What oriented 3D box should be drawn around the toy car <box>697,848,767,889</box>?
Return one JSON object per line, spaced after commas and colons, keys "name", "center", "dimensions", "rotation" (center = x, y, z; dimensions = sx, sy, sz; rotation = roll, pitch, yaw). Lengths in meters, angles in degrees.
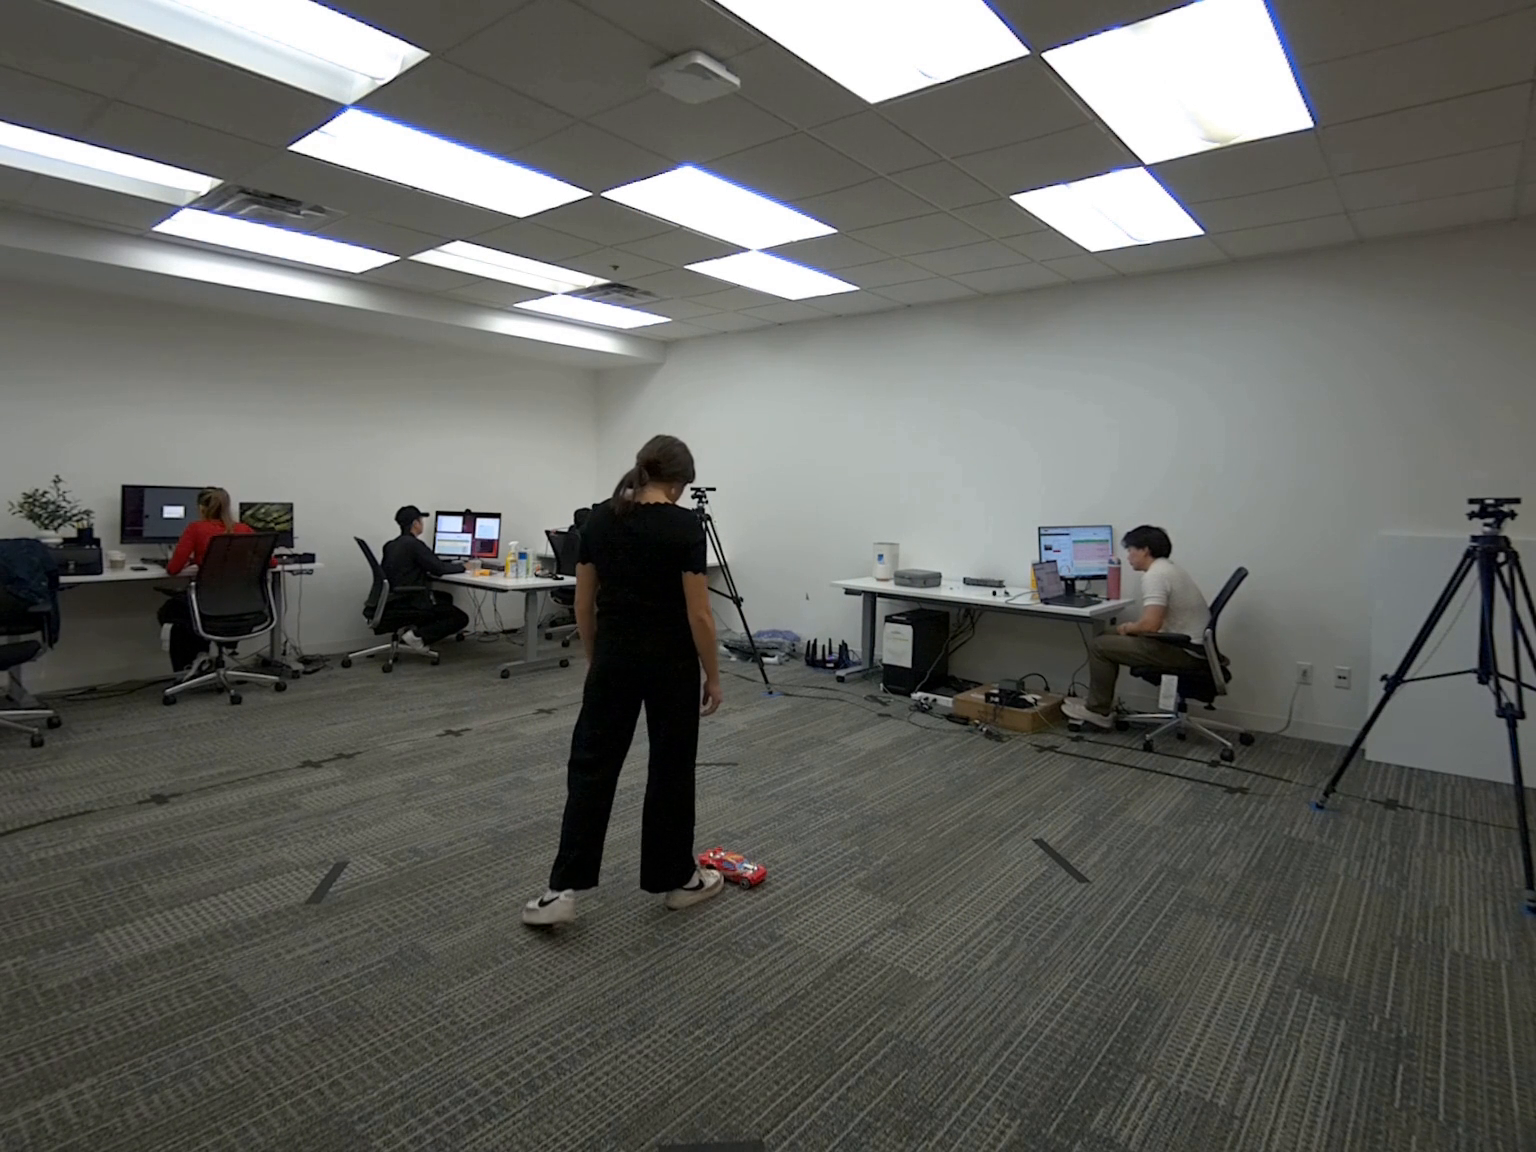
{"name": "toy car", "center": [-0.141, 1.040, 3.047], "dimensions": [0.264, 0.082, 0.127], "rotation": [17, 13, 33]}
